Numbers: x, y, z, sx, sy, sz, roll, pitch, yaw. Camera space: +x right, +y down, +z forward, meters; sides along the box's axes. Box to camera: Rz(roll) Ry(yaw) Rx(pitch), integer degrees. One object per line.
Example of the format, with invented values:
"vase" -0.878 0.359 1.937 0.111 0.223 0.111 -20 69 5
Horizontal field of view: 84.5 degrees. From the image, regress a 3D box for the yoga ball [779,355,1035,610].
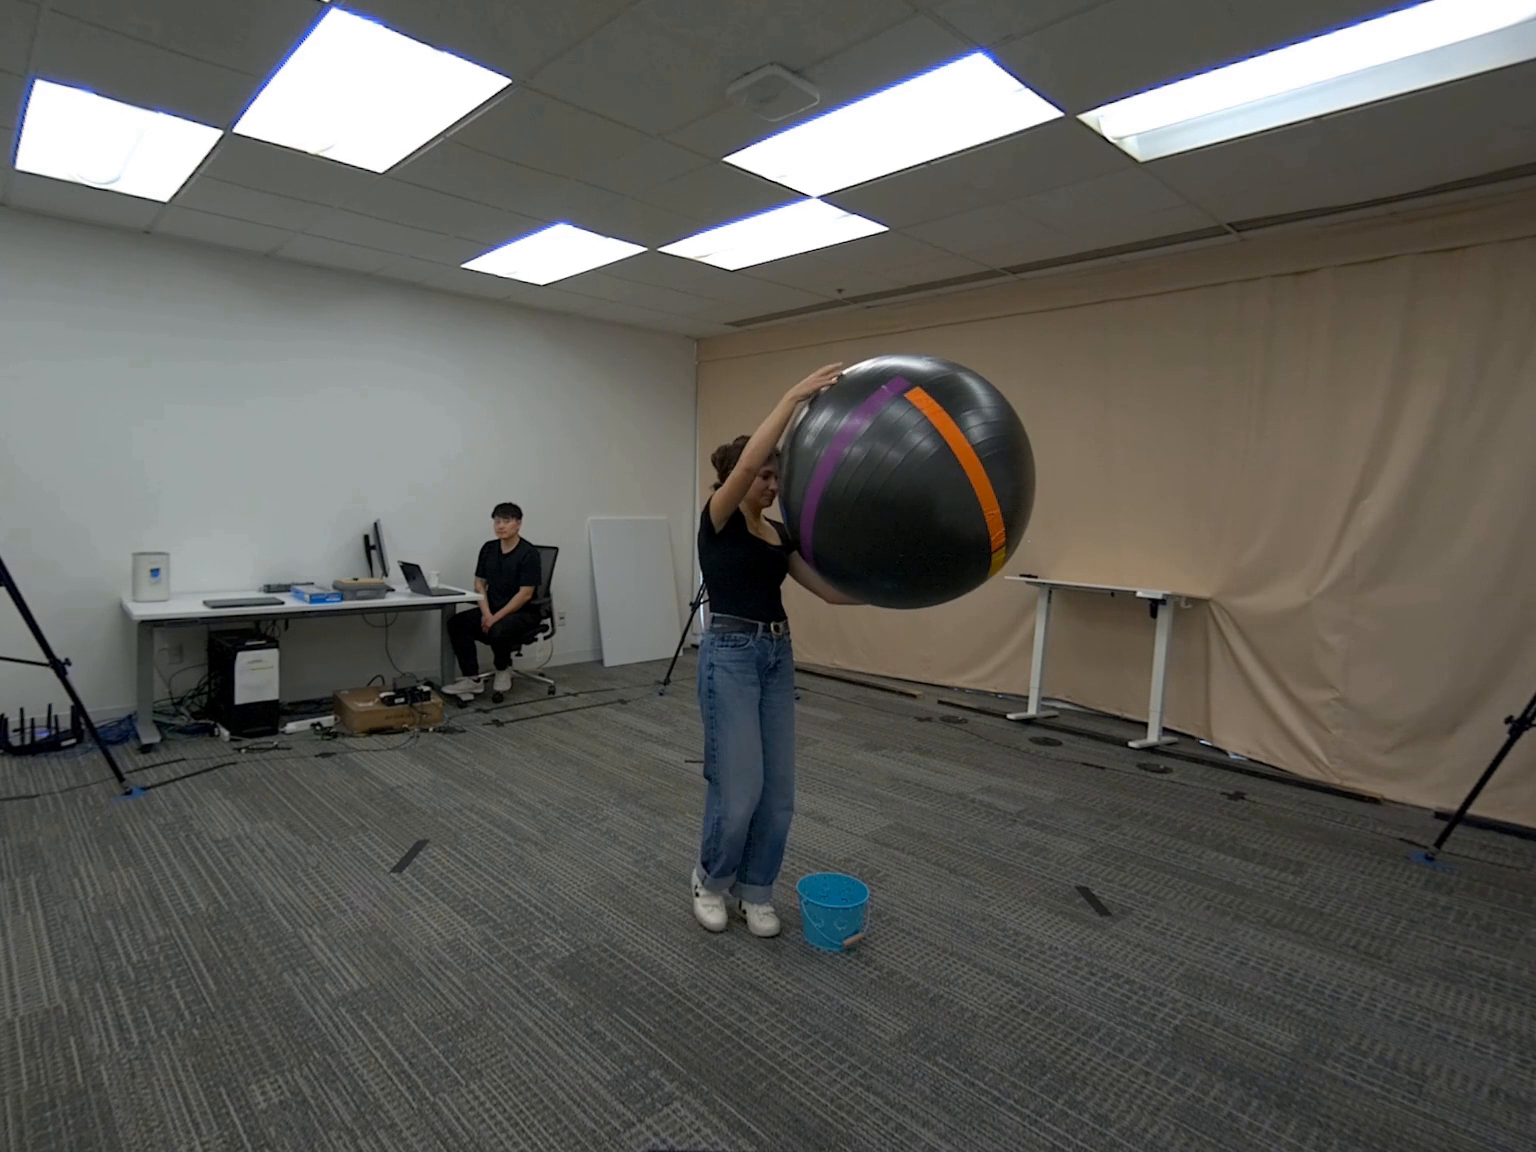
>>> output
"yoga ball" 0.404 -0.269 2.523 0.757 0.756 0.761 1 4 -1
